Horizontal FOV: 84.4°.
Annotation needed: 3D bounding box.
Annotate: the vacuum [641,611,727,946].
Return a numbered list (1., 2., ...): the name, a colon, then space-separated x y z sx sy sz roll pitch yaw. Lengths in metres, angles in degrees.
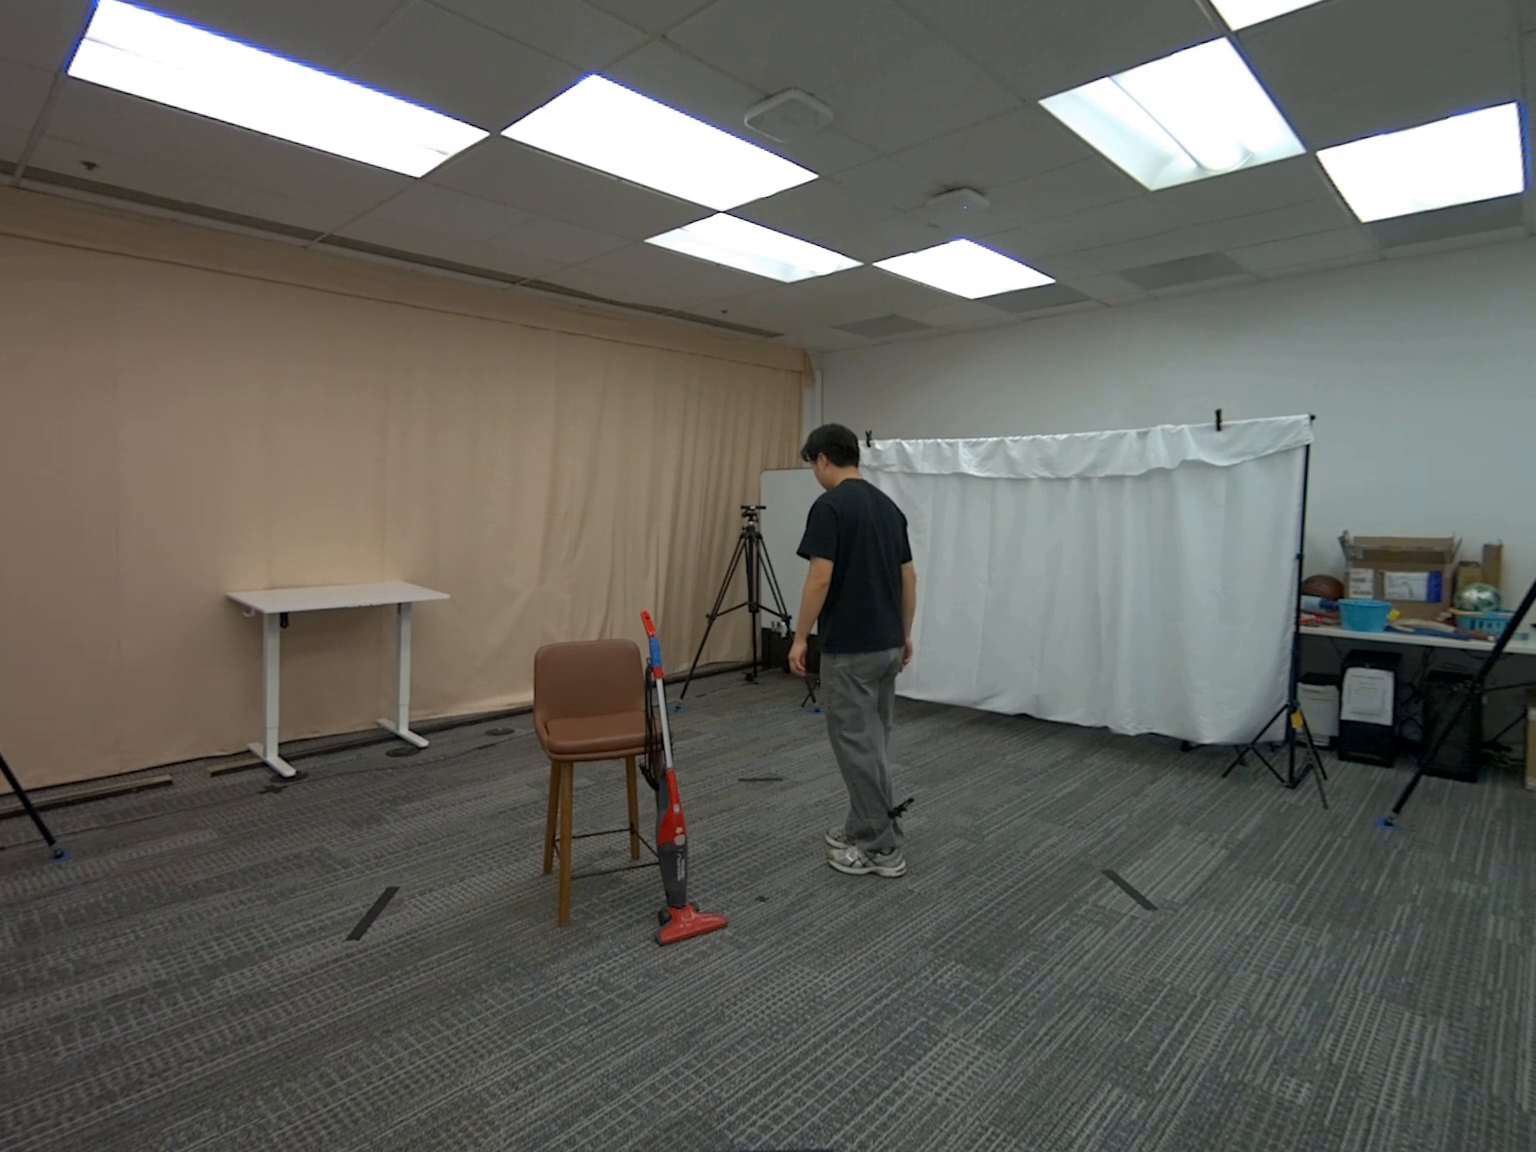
1. vacuum: -0.353 0.646 2.871 0.245 1.056 0.147 -3 -10 -37
